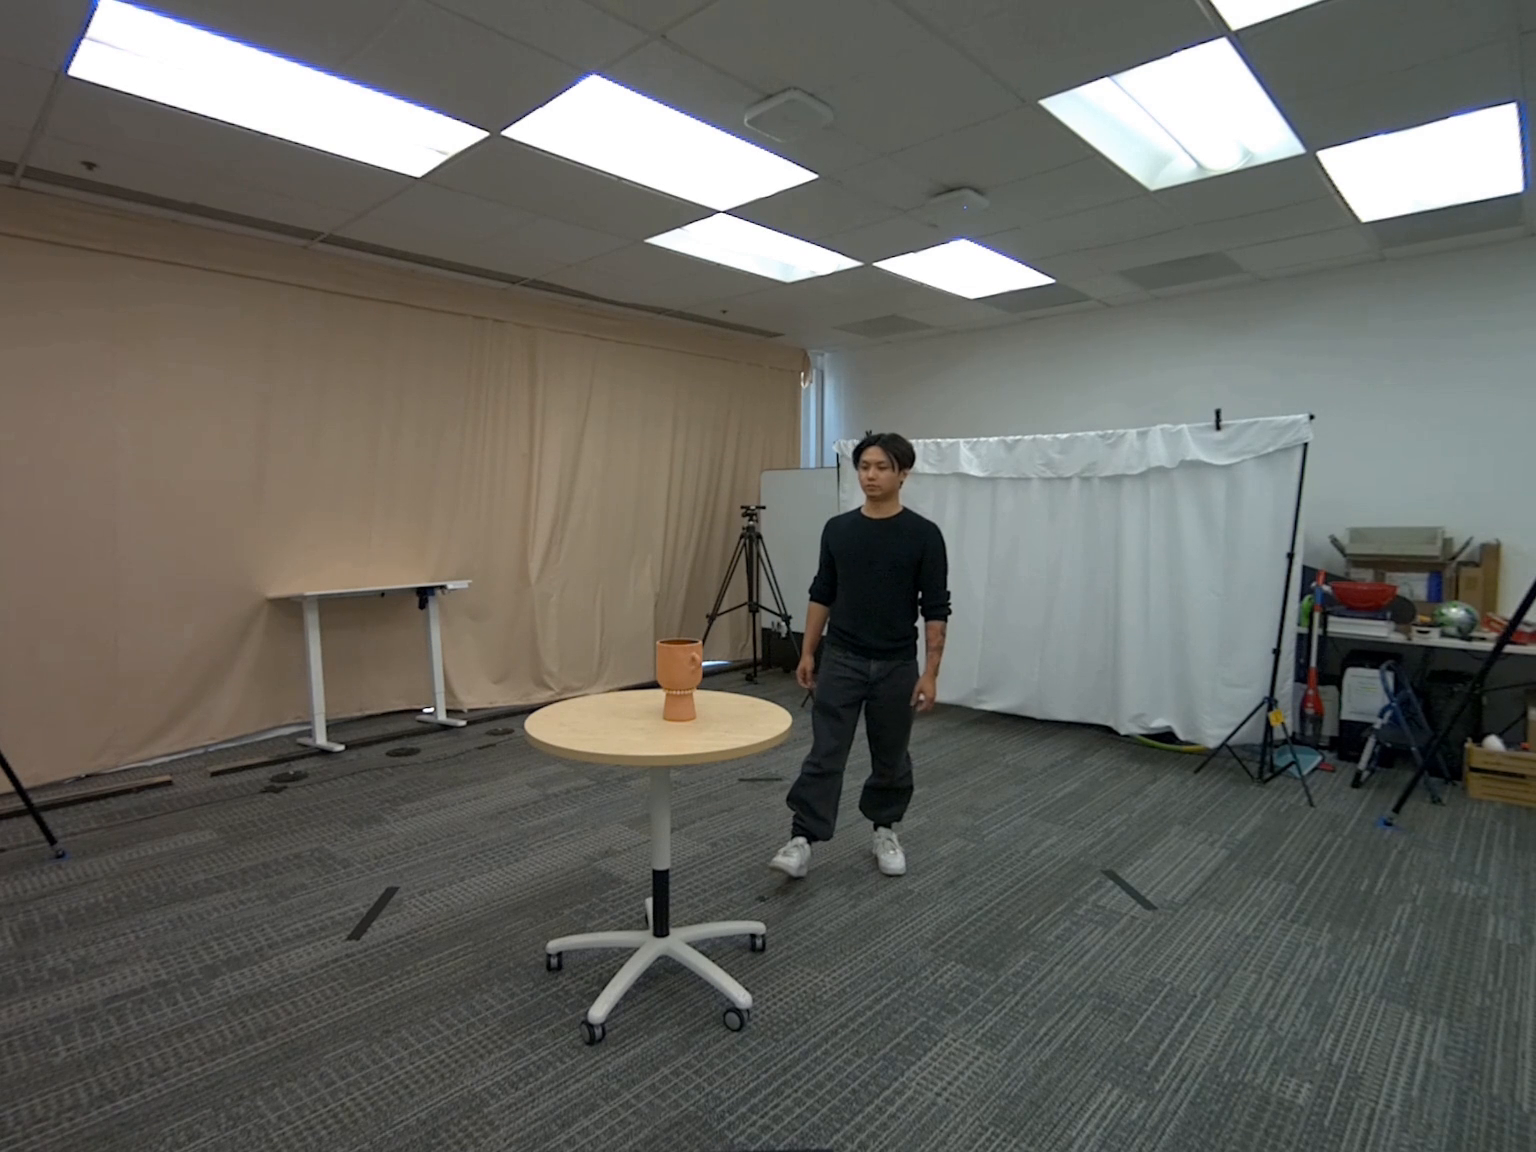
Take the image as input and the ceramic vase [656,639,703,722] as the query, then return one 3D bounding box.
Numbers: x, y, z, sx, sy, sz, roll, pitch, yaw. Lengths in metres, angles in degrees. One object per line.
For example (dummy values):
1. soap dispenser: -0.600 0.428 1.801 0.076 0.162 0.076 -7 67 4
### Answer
1. ceramic vase: -0.253 0.301 2.421 0.134 0.219 0.159 1 3 -2
